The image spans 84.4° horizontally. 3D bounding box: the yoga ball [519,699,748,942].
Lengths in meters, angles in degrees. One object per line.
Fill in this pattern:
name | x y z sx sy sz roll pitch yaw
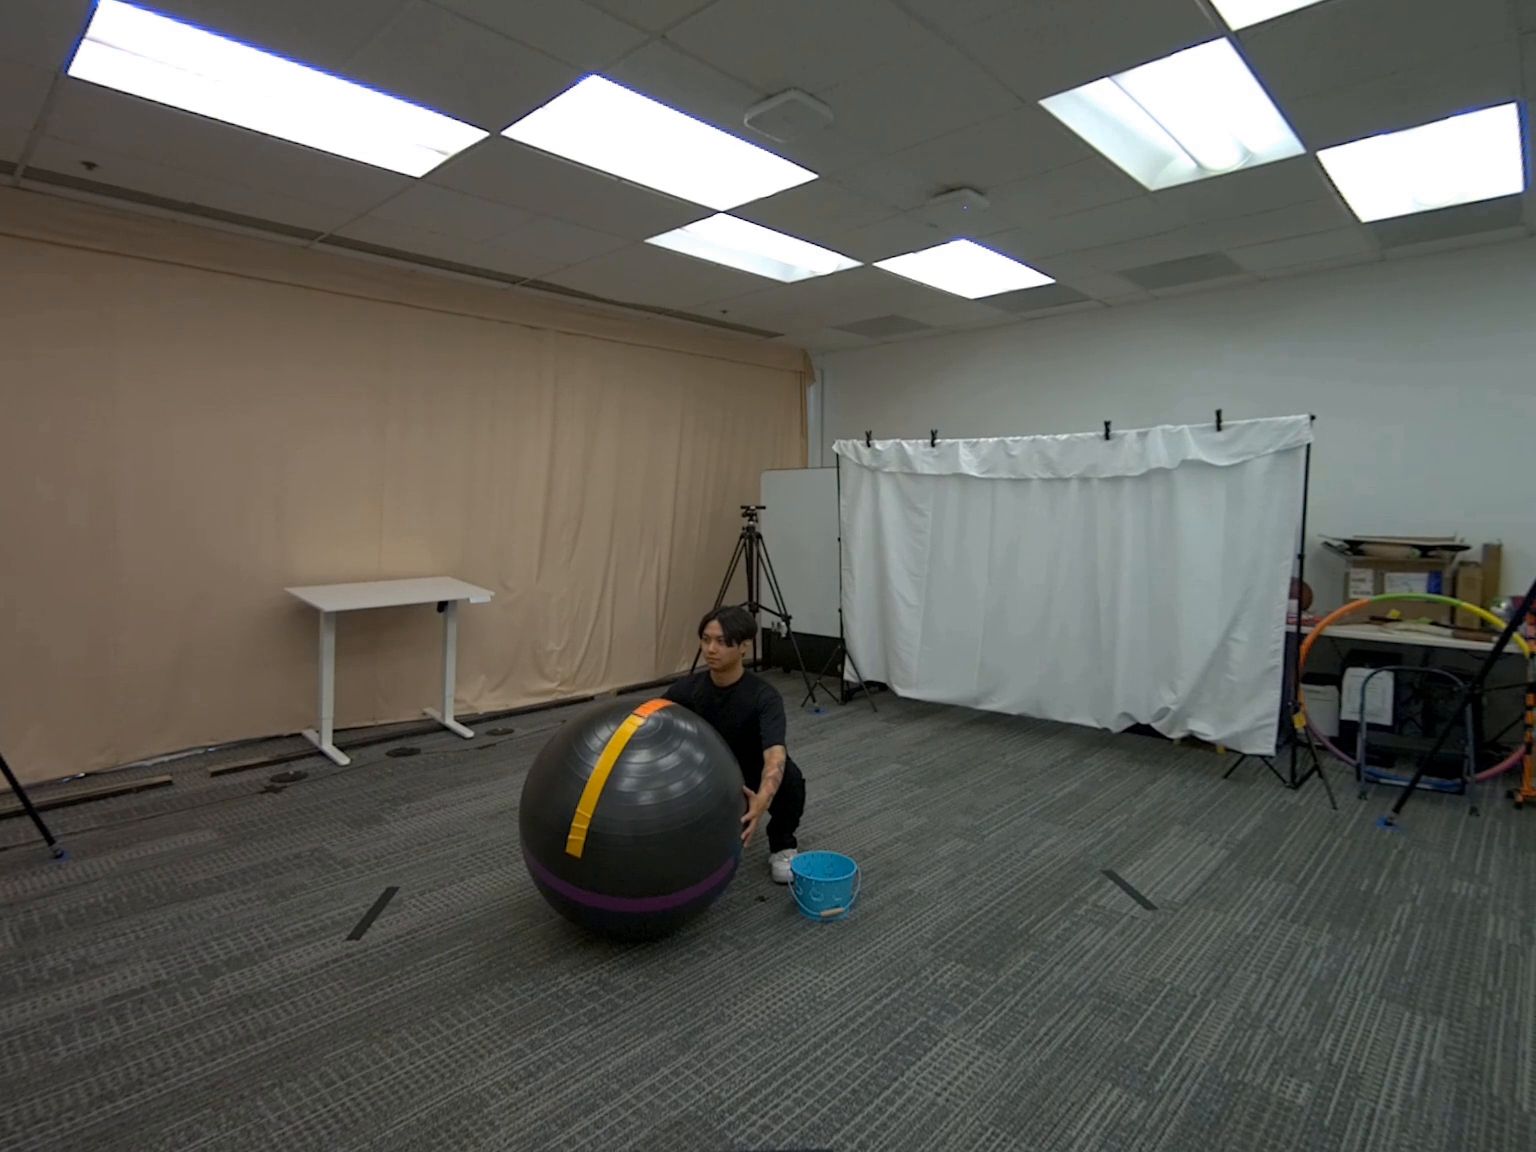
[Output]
yoga ball | -0.455 0.799 2.781 0.757 0.756 0.760 0 4 -2
